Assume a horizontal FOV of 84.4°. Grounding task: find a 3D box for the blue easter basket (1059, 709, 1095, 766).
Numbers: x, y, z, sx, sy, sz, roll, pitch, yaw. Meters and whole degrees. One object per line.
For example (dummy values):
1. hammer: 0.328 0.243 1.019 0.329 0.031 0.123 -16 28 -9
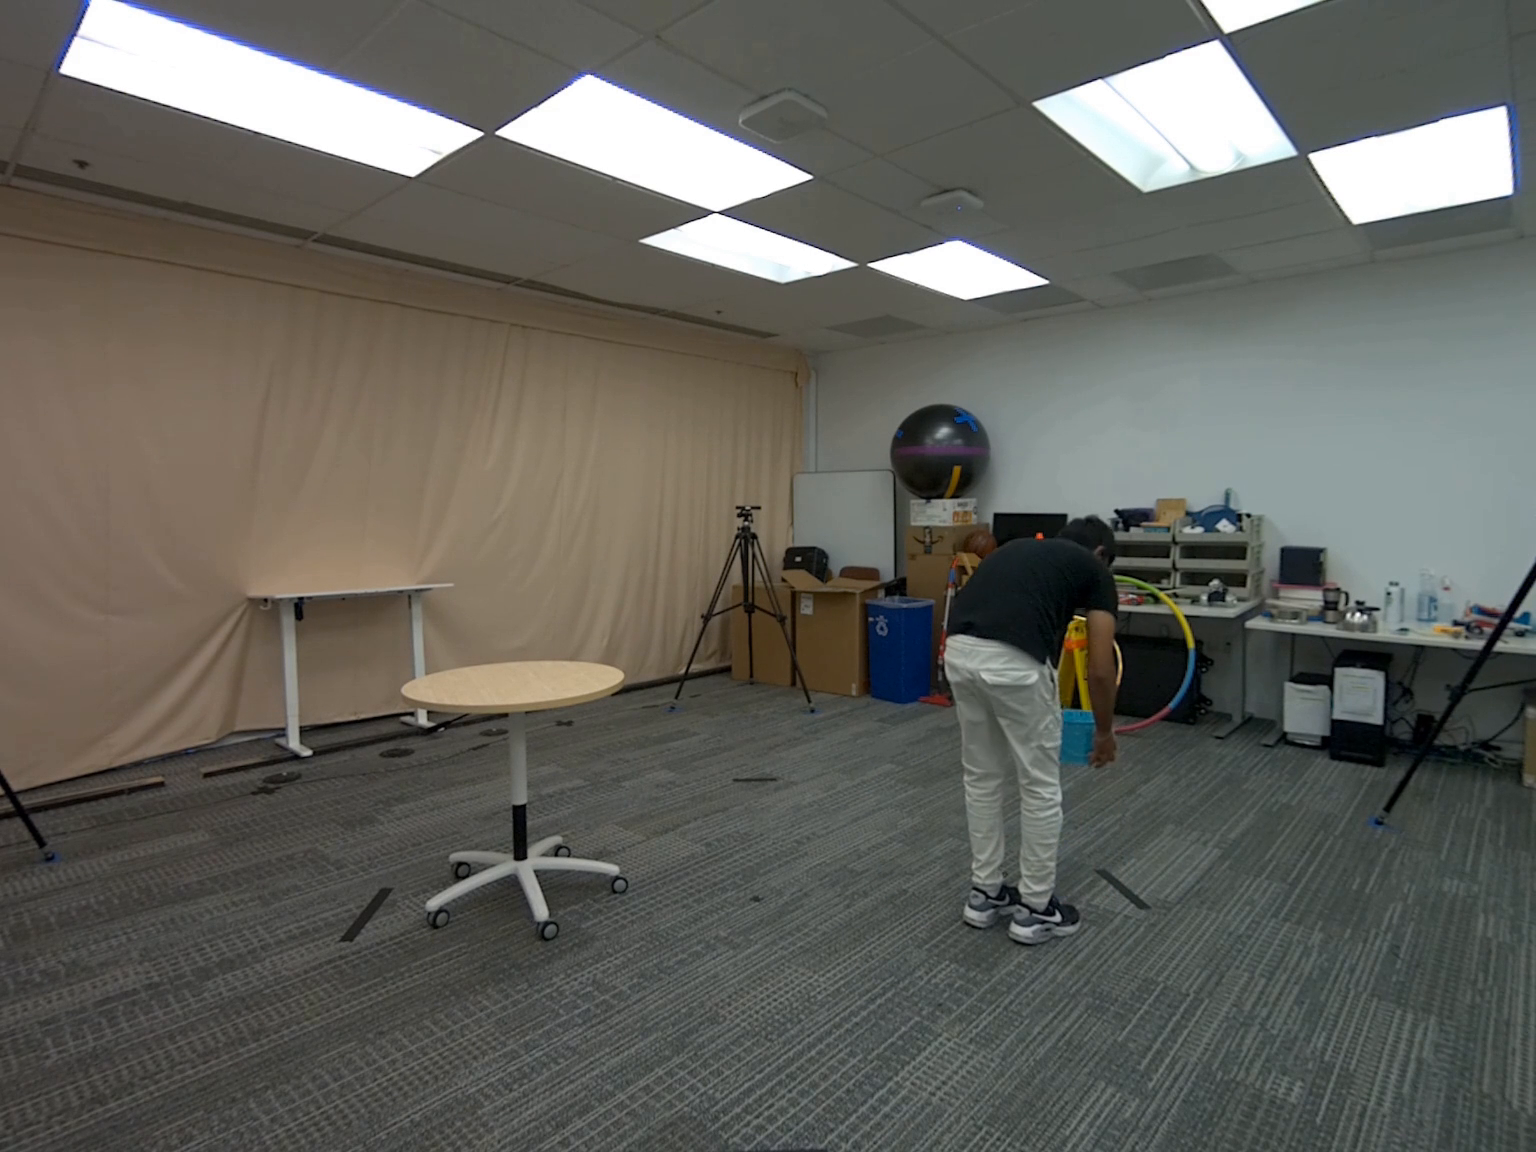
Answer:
1. blue easter basket: 1.113 0.581 2.984 0.243 0.156 0.244 -1 1 -2
